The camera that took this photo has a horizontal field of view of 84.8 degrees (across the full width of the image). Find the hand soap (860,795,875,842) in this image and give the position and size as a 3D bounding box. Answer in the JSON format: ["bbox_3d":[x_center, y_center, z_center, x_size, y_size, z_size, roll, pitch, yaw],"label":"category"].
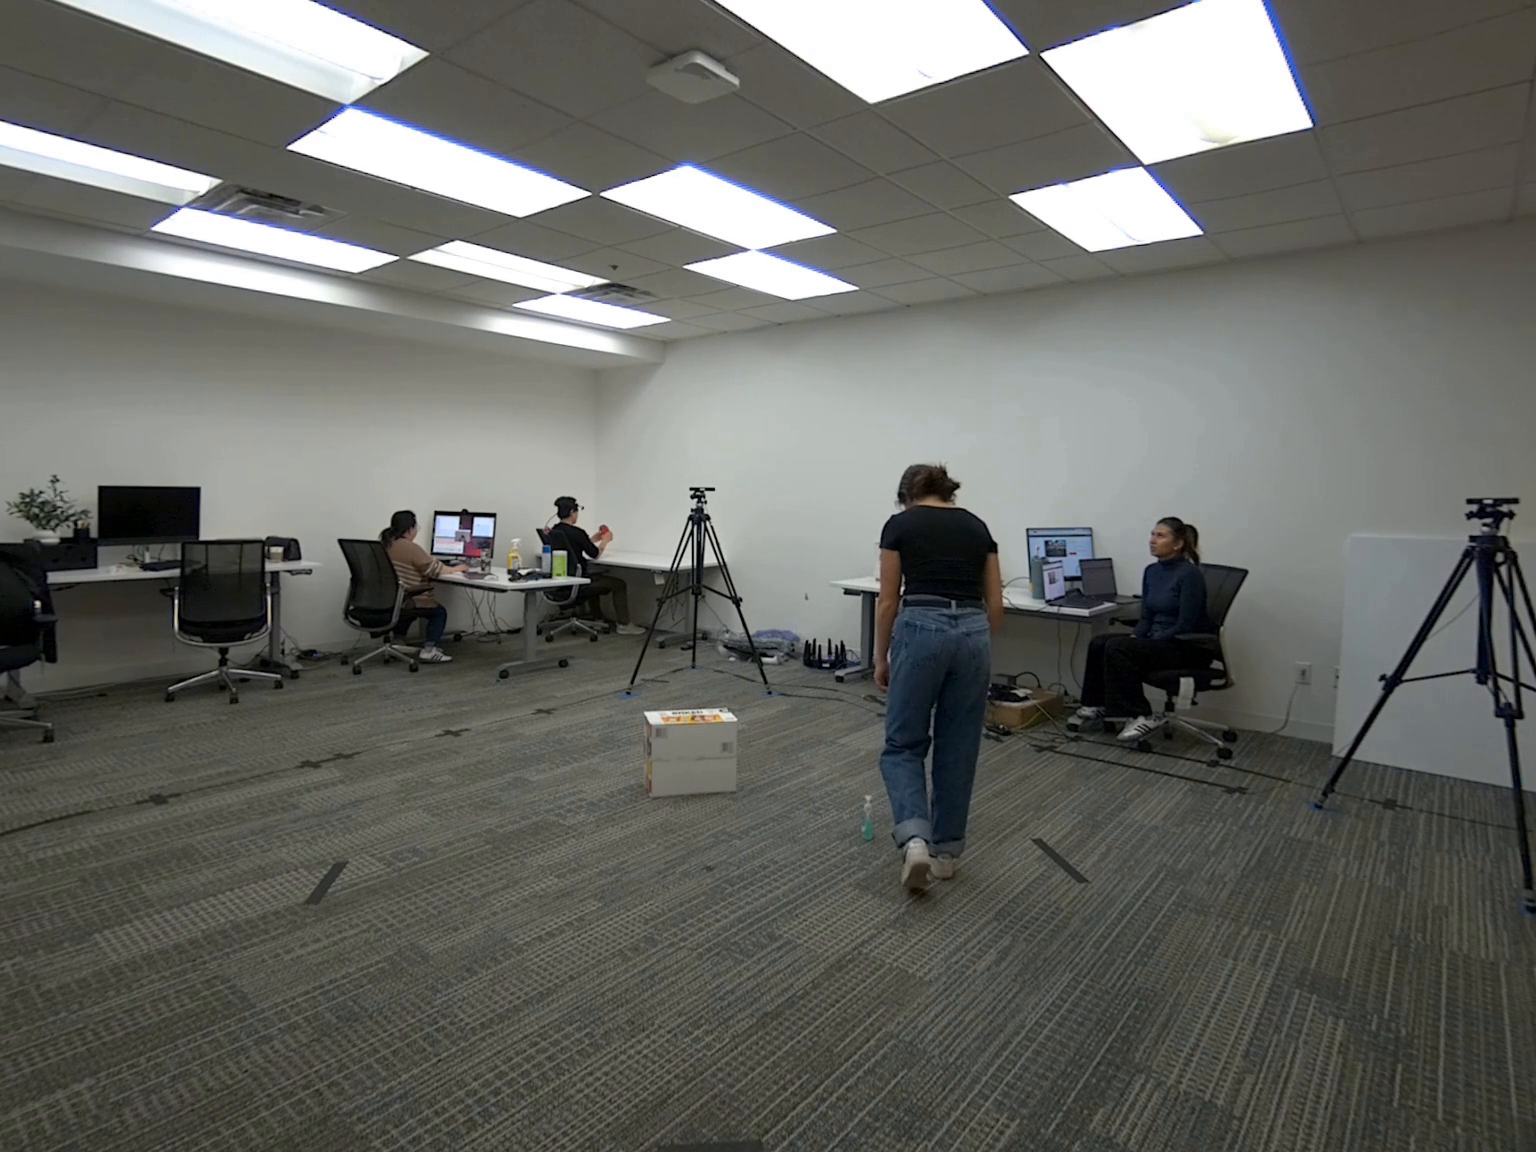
[{"bbox_3d":[0.395,0.967,3.430,0.043,0.168,0.084,1,2,0],"label":"hand soap"}]
